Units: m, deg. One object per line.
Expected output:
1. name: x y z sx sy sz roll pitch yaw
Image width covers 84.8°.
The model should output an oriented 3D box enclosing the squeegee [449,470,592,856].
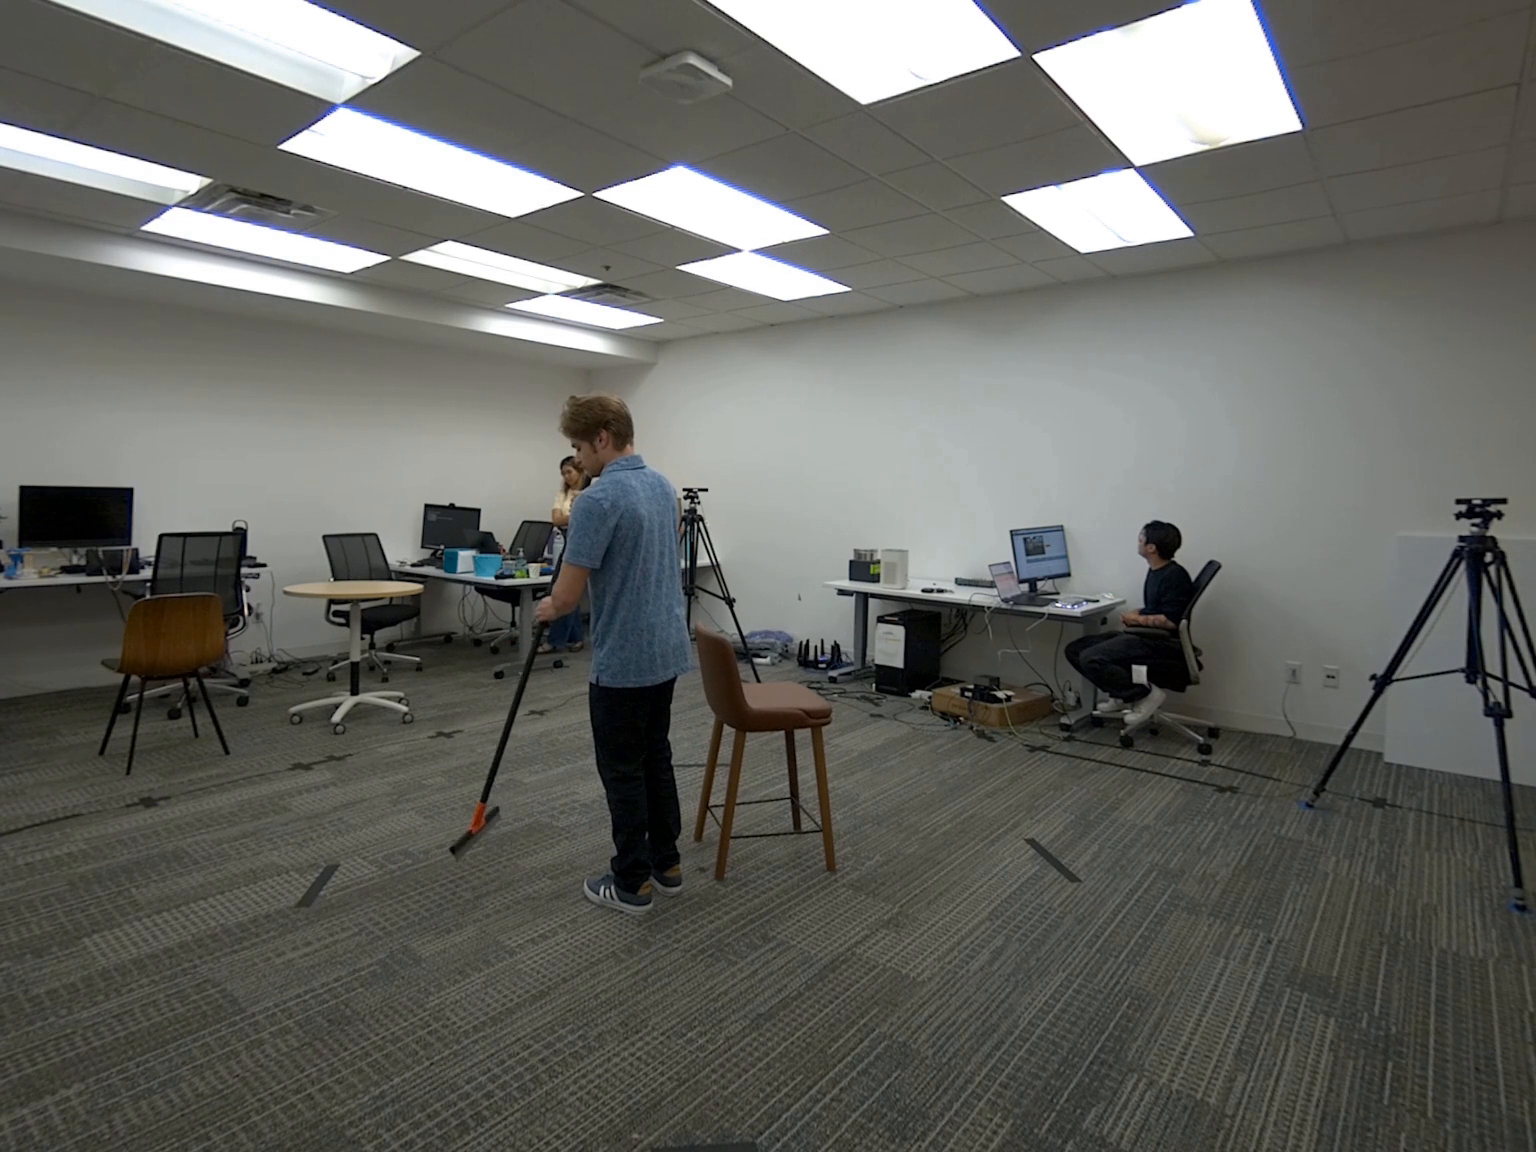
1. squeegee: -0.826 0.204 2.961 0.053 1.538 0.434 17 -1 3
